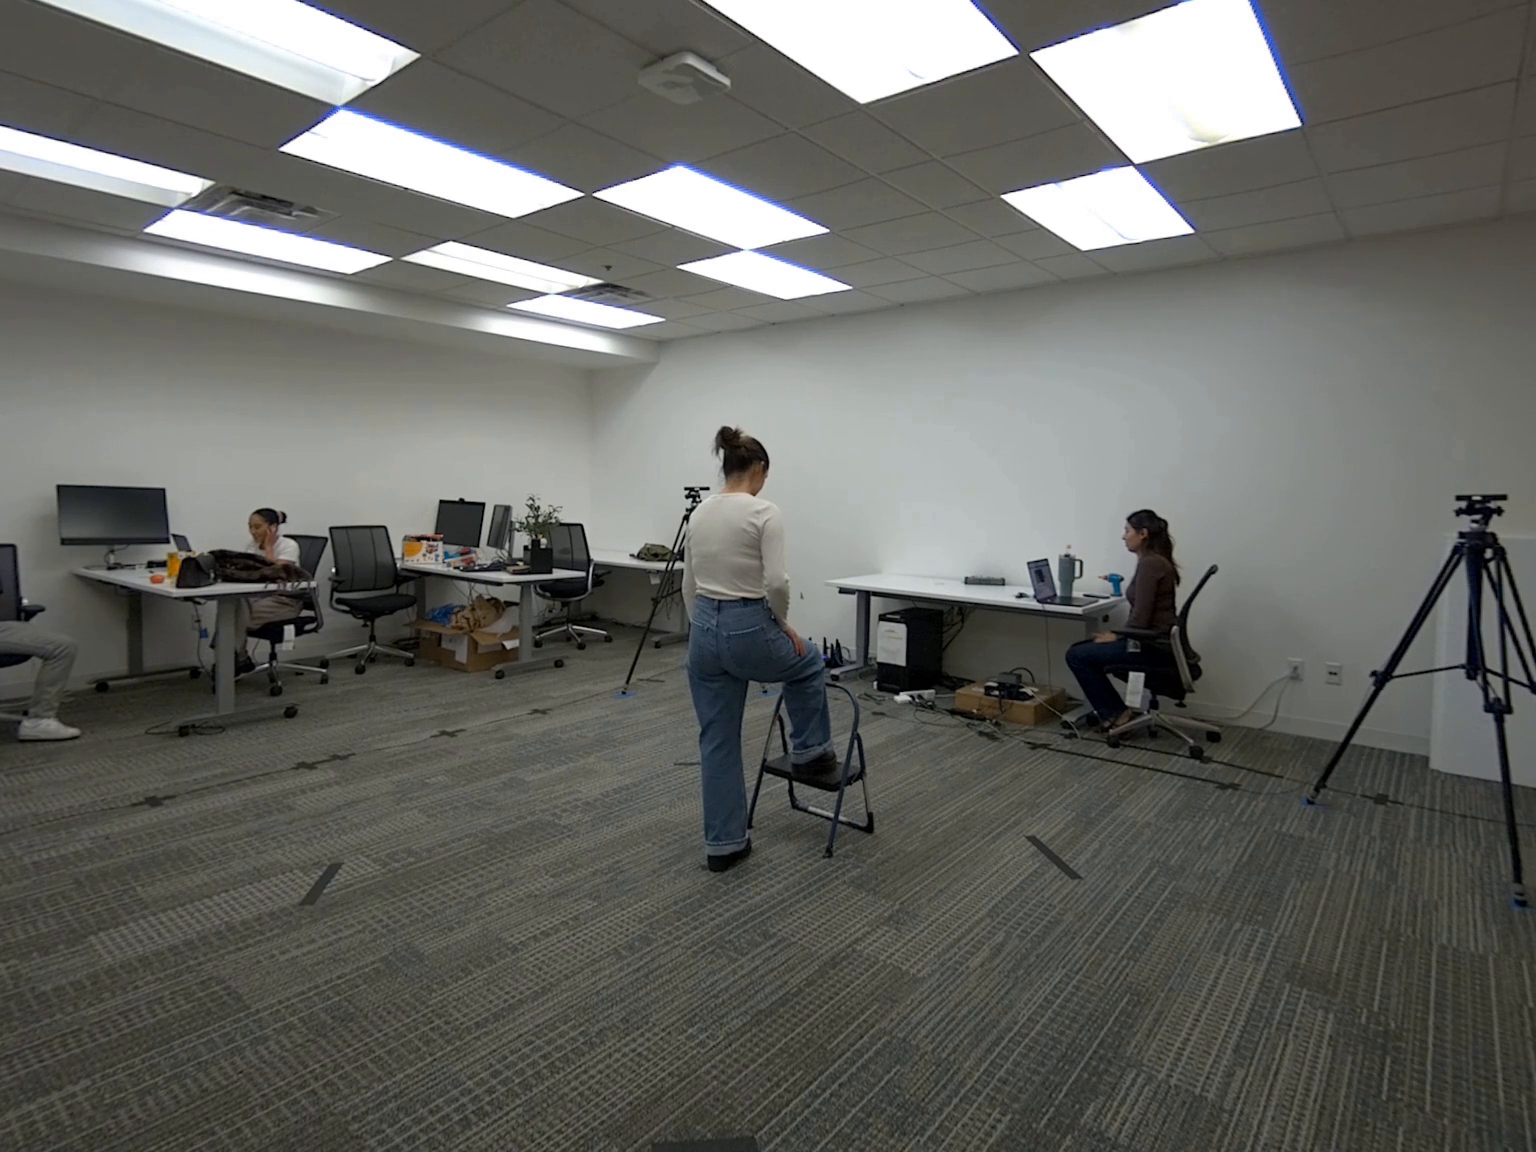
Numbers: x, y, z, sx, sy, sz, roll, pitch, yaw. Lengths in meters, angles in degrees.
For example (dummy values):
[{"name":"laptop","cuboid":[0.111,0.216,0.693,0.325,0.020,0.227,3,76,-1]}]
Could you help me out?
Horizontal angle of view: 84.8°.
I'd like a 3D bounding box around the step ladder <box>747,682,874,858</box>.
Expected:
[{"name":"step ladder","cuboid":[0.168,0.734,3.465,0.445,0.604,0.339,4,4,39]}]
